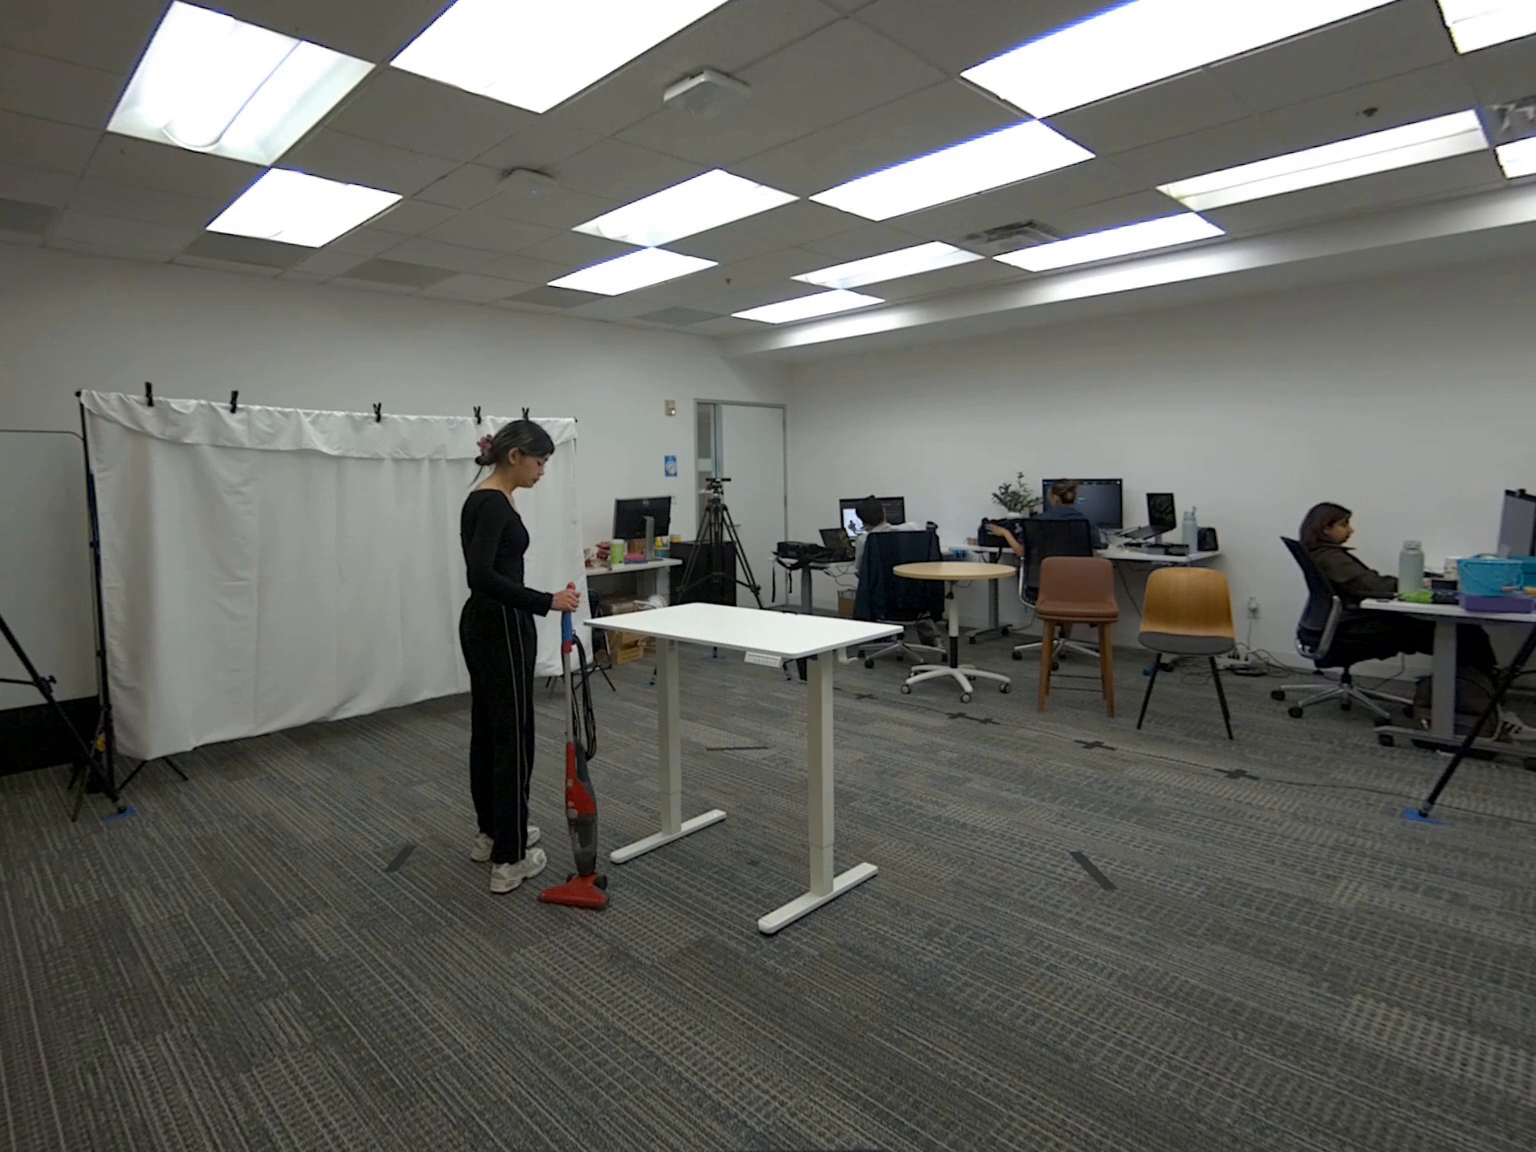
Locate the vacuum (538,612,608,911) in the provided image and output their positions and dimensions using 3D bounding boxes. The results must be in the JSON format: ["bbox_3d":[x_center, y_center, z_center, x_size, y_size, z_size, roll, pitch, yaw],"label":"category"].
[{"bbox_3d":[-0.666,0.559,2.941,0.257,1.057,0.140,-9,-9,26],"label":"vacuum"}]
